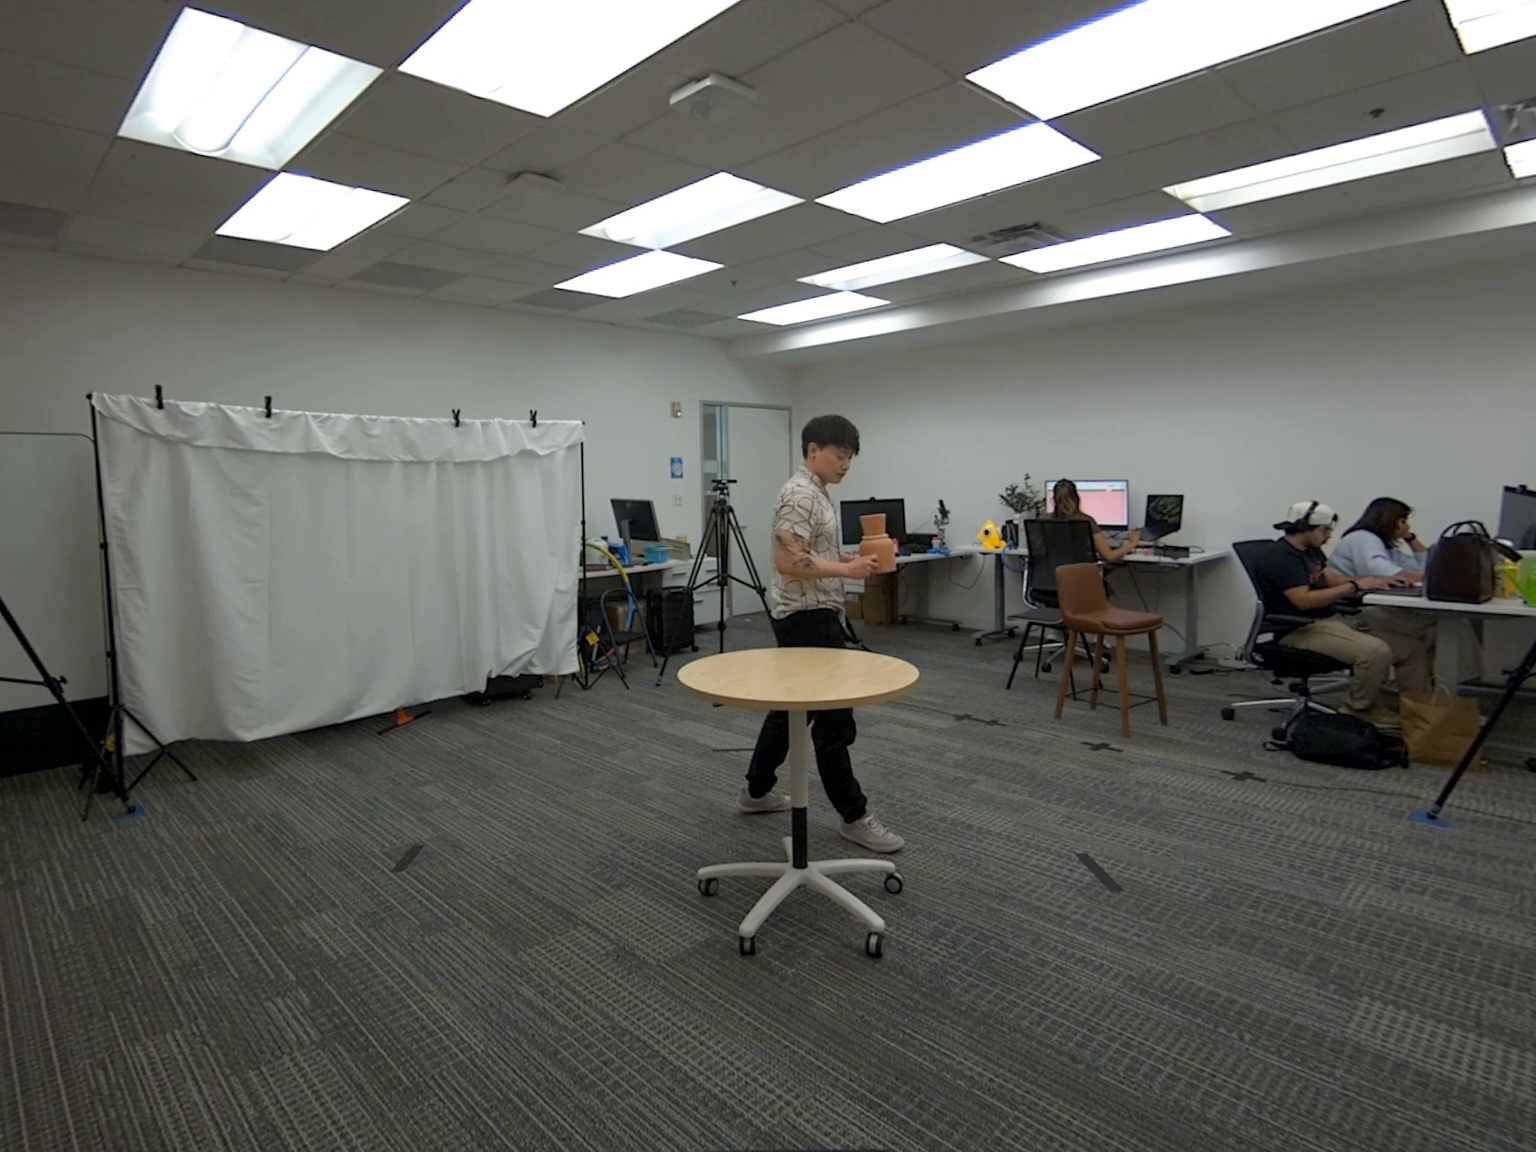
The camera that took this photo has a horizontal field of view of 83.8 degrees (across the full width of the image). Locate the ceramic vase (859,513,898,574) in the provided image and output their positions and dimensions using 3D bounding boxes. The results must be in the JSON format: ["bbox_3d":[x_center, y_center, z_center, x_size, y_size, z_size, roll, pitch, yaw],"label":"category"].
[{"bbox_3d":[0.410,-0.125,3.299,0.132,0.219,0.162,-7,5,-19],"label":"ceramic vase"}]
